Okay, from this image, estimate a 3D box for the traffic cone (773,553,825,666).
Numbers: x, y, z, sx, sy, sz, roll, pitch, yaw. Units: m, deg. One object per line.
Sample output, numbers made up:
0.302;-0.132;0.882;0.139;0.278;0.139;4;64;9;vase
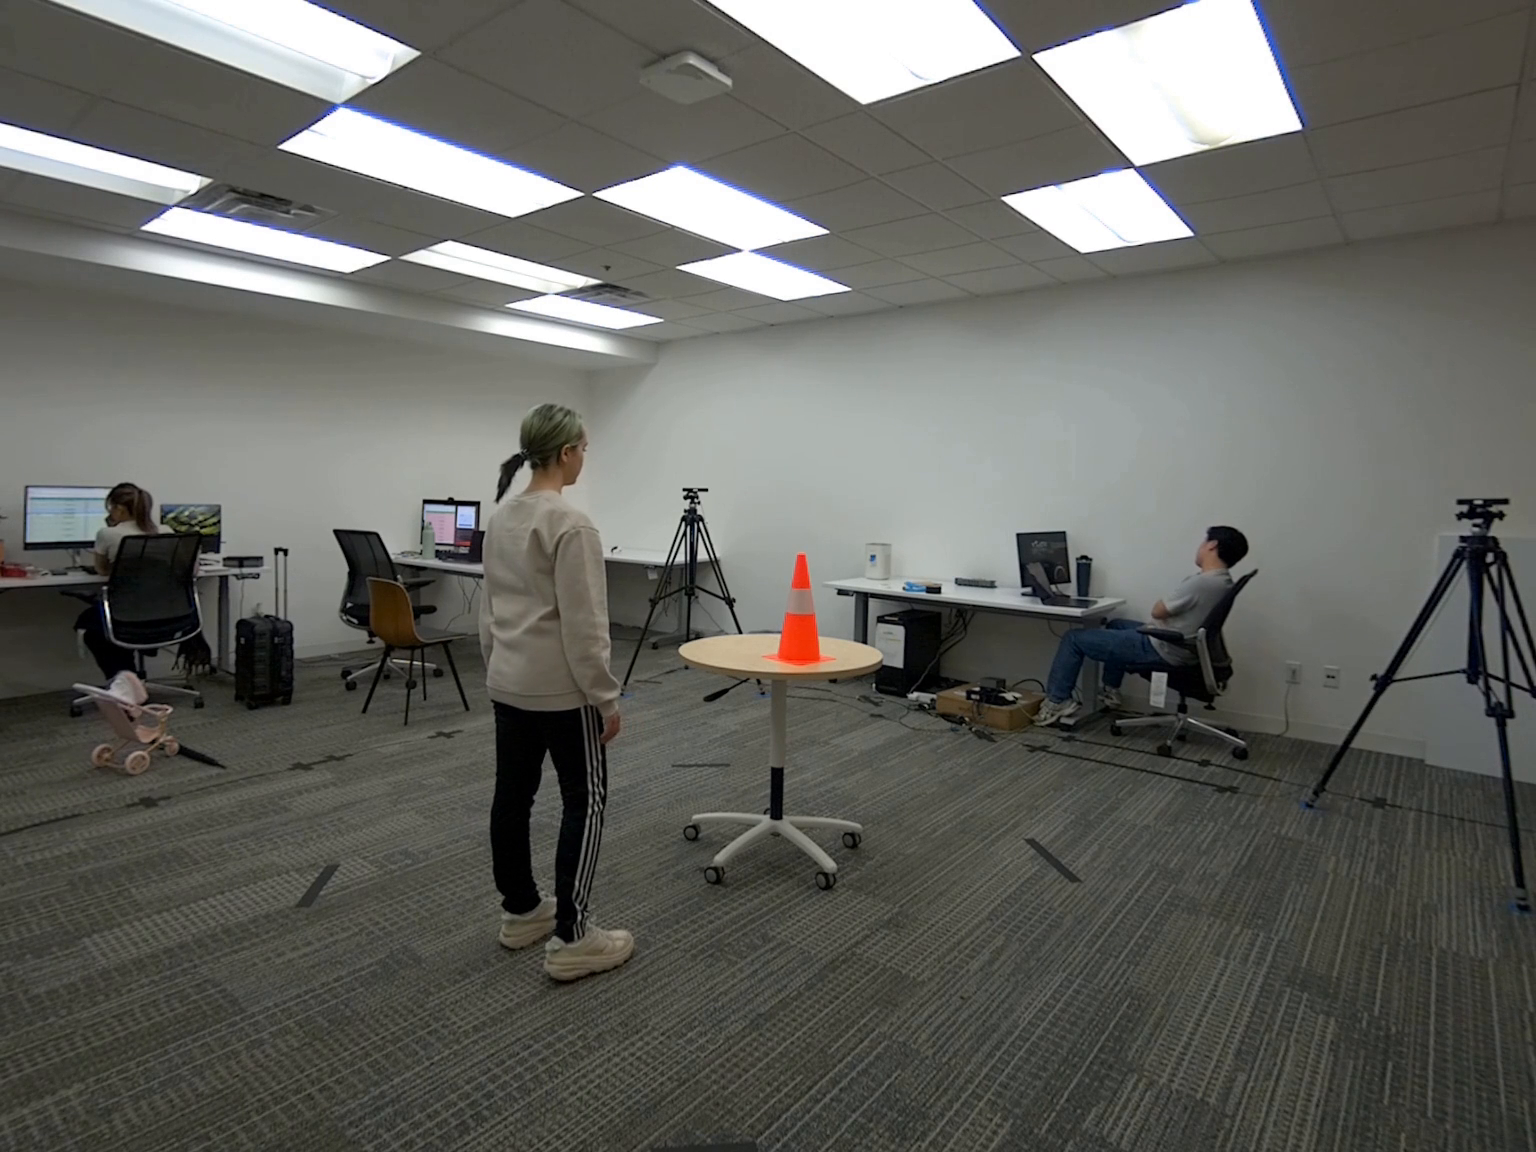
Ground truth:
0.108;0.109;3.069;0.212;0.382;0.197;6;6;39;traffic cone
